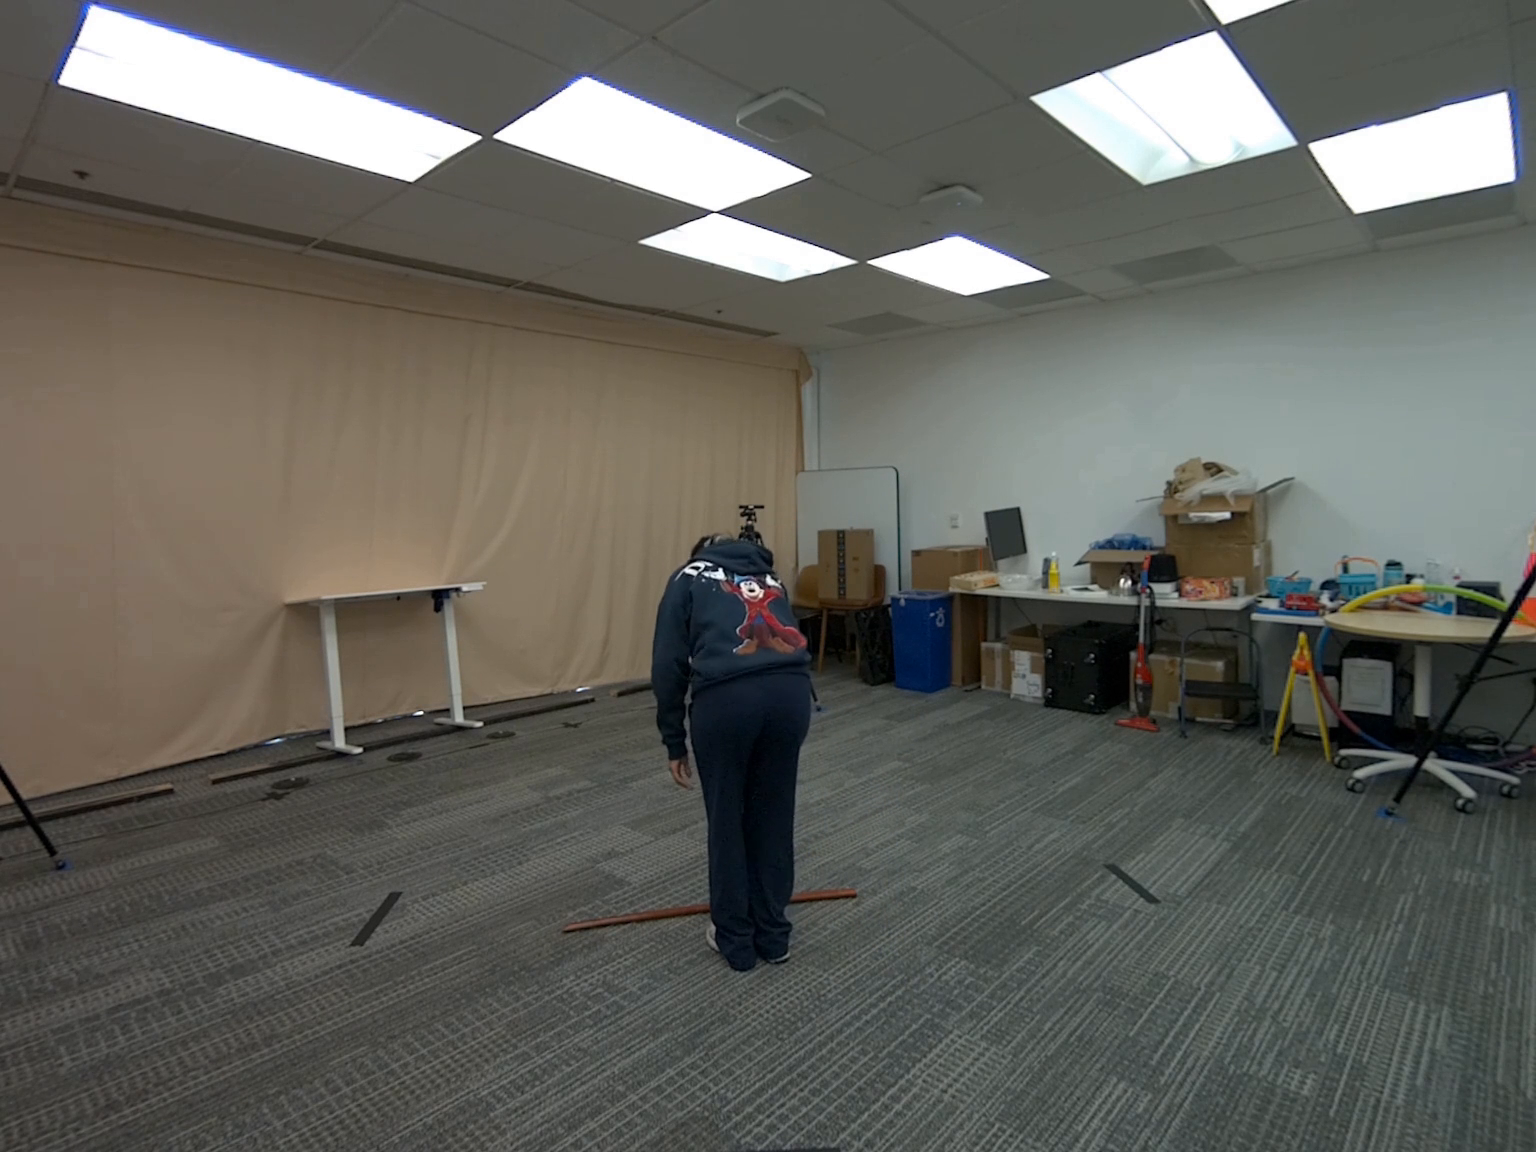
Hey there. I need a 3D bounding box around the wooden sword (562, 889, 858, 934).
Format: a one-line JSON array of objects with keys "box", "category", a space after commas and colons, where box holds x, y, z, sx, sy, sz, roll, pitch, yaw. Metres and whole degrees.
[{"box": [-0.182, 1.133, 2.893, 1.013, 0.024, 0.052, -2, 25, -11], "category": "wooden sword"}]
